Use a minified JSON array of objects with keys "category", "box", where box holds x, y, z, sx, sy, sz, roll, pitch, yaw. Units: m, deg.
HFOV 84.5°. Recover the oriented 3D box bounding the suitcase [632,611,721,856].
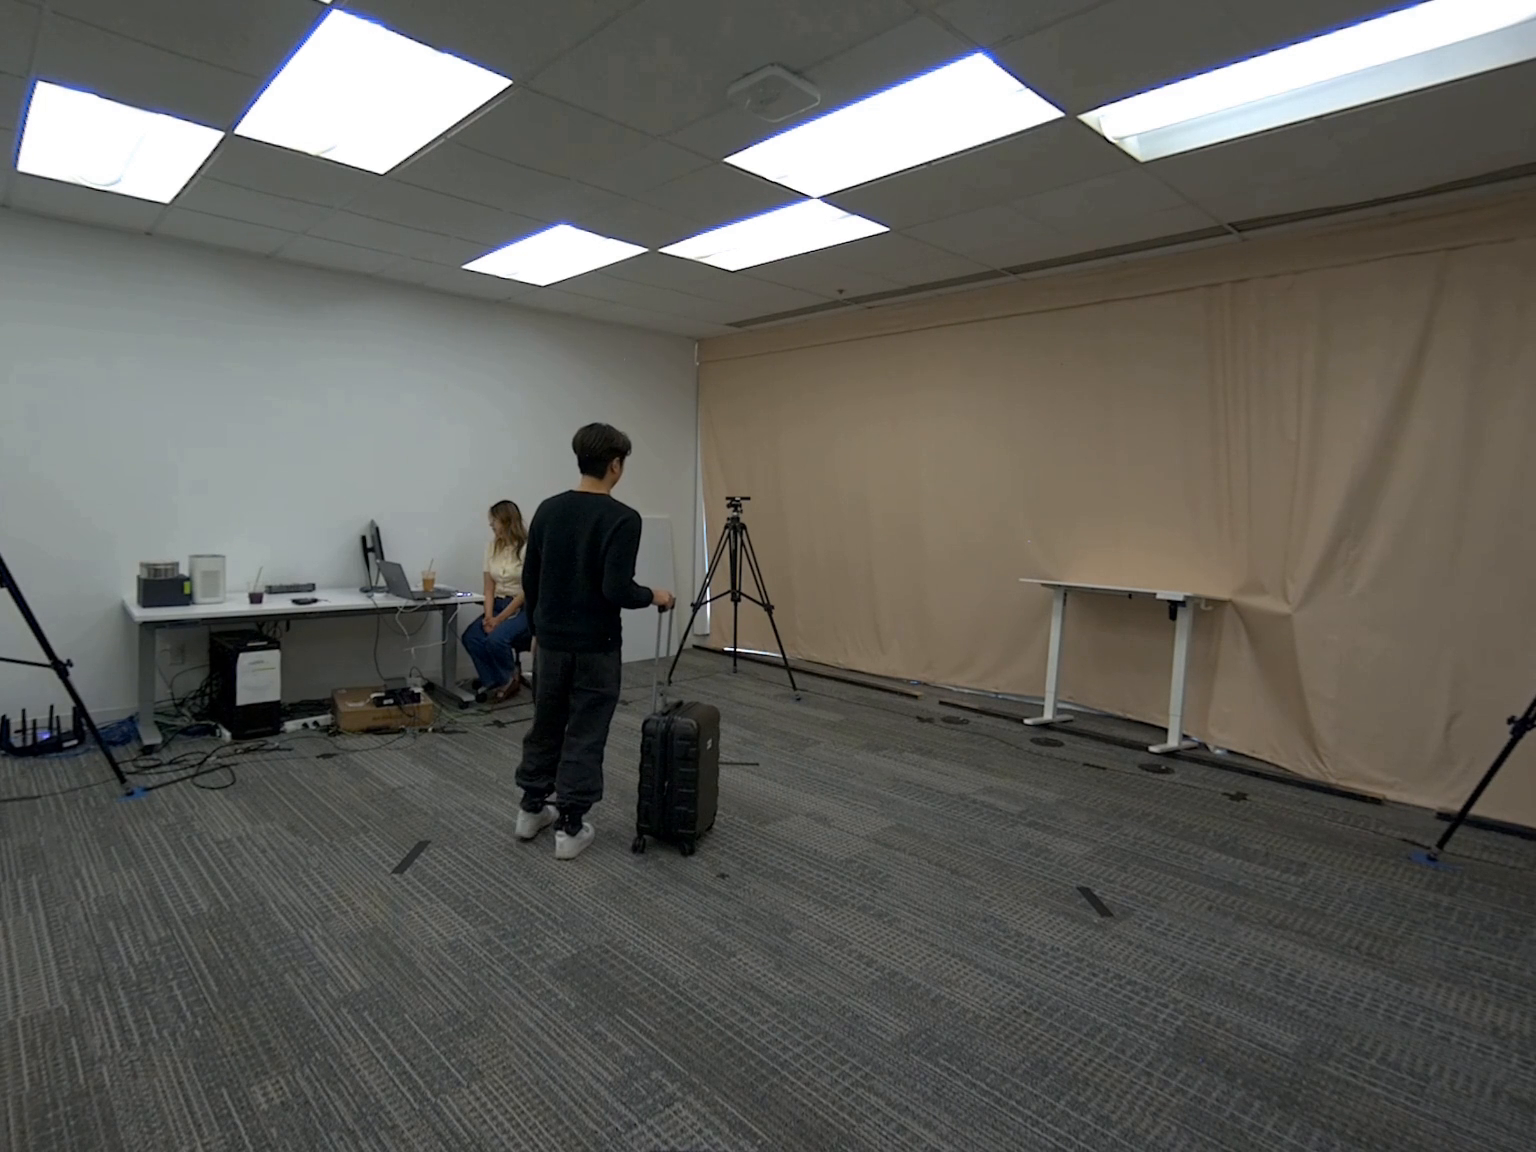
[{"category":"suitcase","box":[-0.345,0.599,3.413,0.260,0.977,0.380,7,3,12]}]
